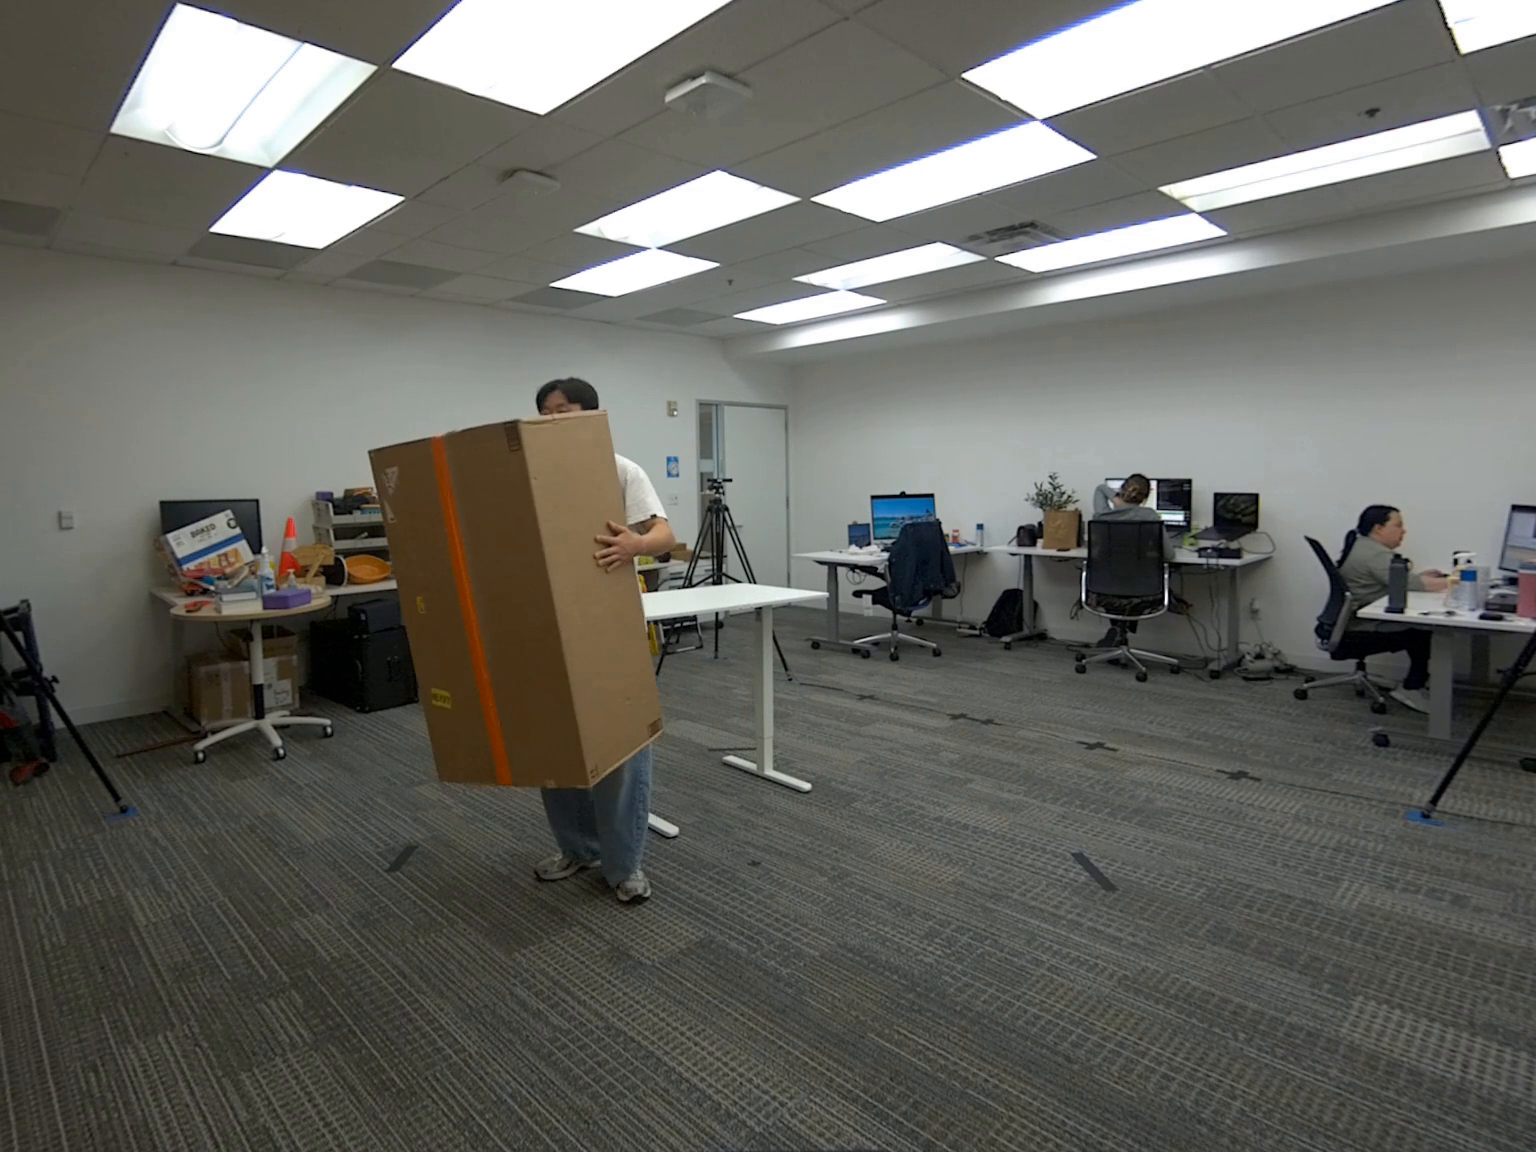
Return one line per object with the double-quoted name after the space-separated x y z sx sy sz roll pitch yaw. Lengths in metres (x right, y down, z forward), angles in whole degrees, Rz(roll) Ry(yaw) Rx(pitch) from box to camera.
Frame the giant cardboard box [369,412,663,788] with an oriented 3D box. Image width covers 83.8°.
-0.738 0.068 2.585 0.590 1.019 0.420 -6 8 27 "giant cardboard box"
